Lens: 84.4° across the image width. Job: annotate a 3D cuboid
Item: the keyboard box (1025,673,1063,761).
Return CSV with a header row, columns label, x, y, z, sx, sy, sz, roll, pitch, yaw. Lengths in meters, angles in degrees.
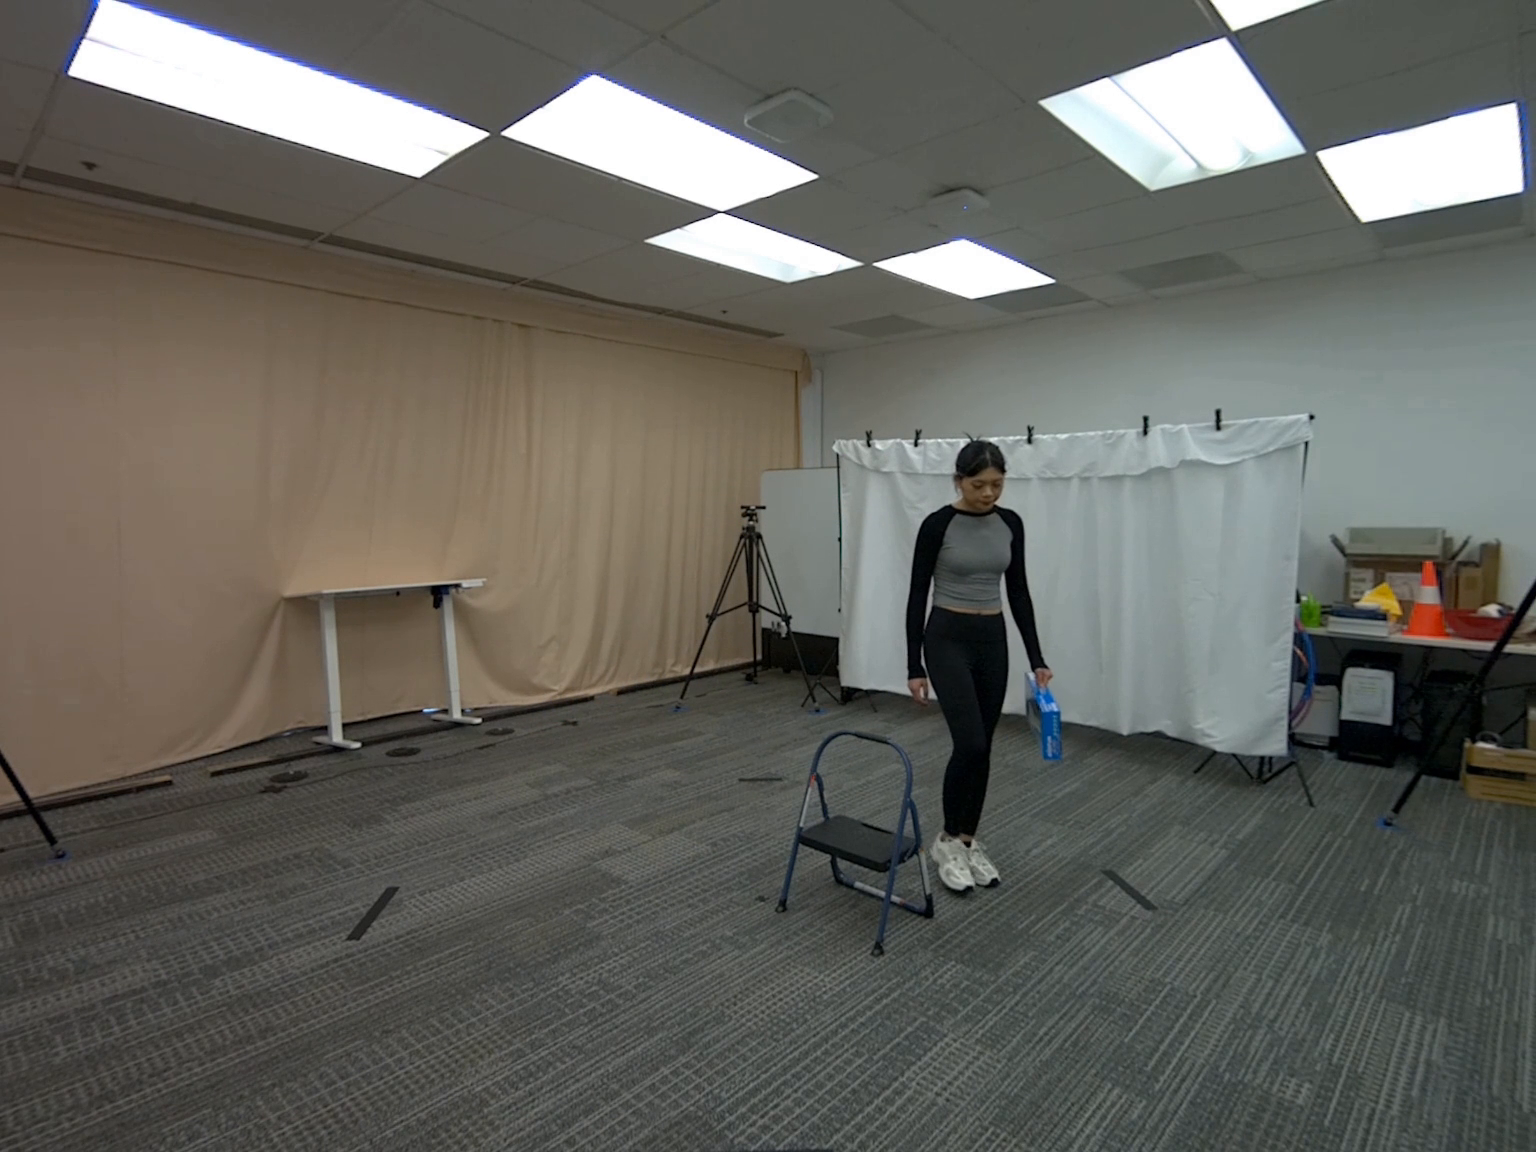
label,x,y,z,sx,sy,sz,roll,pitch,yaw
keyboard box,0.994,0.499,3.043,0.060,0.175,0.434,-2,11,10
